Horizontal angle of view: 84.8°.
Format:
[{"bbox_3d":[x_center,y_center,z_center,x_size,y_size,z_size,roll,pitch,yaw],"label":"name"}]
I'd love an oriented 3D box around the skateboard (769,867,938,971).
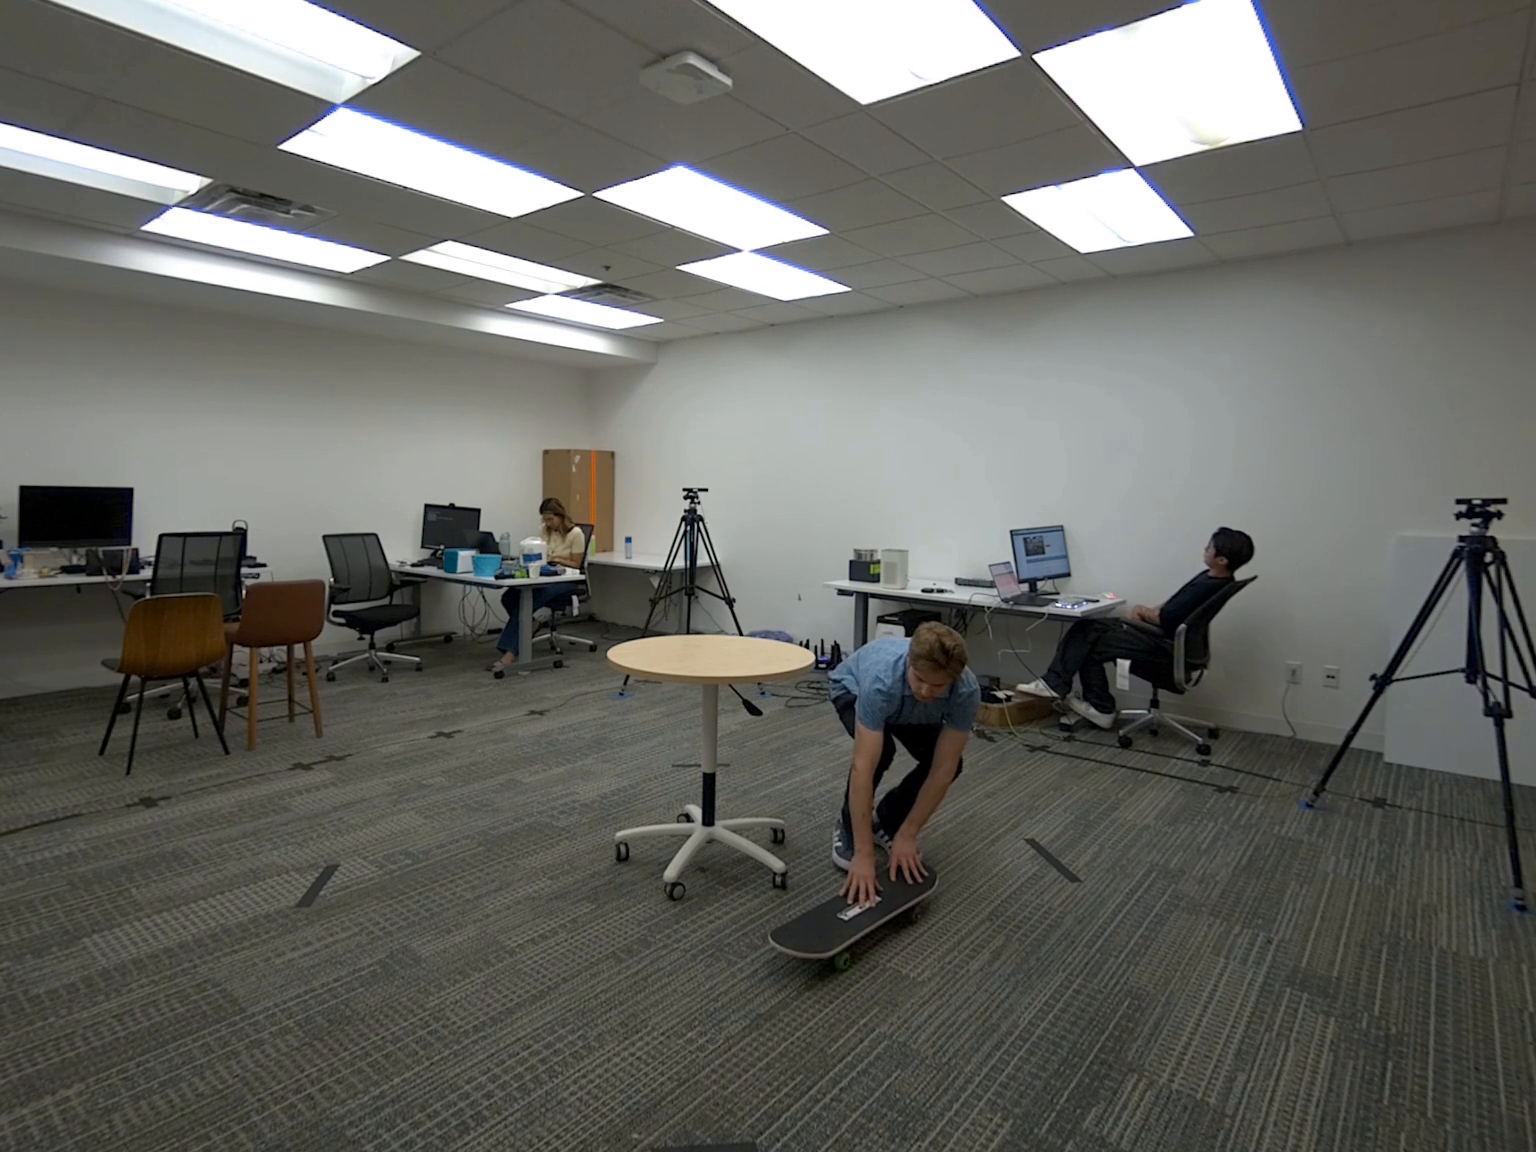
[{"bbox_3d":[0.284,1.070,2.669,0.200,0.110,0.761,6,7,43],"label":"skateboard"}]
